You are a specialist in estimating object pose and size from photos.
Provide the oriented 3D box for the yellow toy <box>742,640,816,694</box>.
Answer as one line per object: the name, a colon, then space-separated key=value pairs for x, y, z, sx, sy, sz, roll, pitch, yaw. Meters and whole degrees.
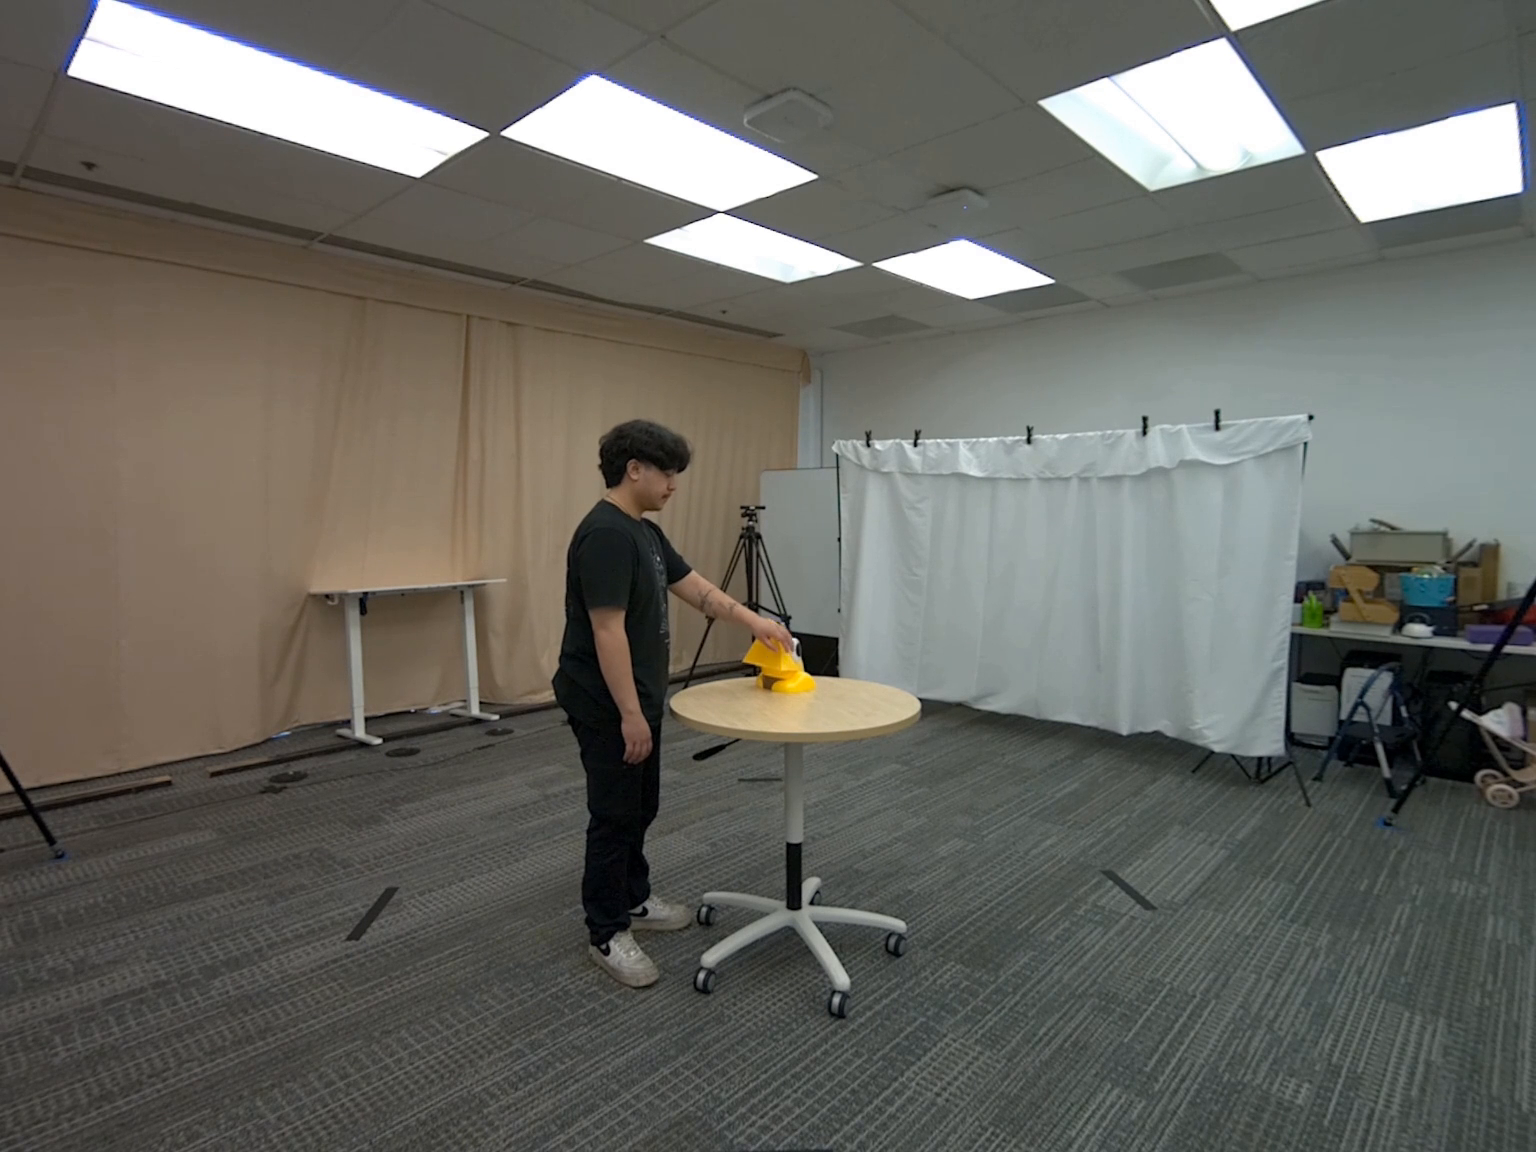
yellow toy: x=0.051 y=0.255 z=2.791 sx=0.187 sy=0.230 sz=0.211 roll=-1 pitch=3 yaw=-38
